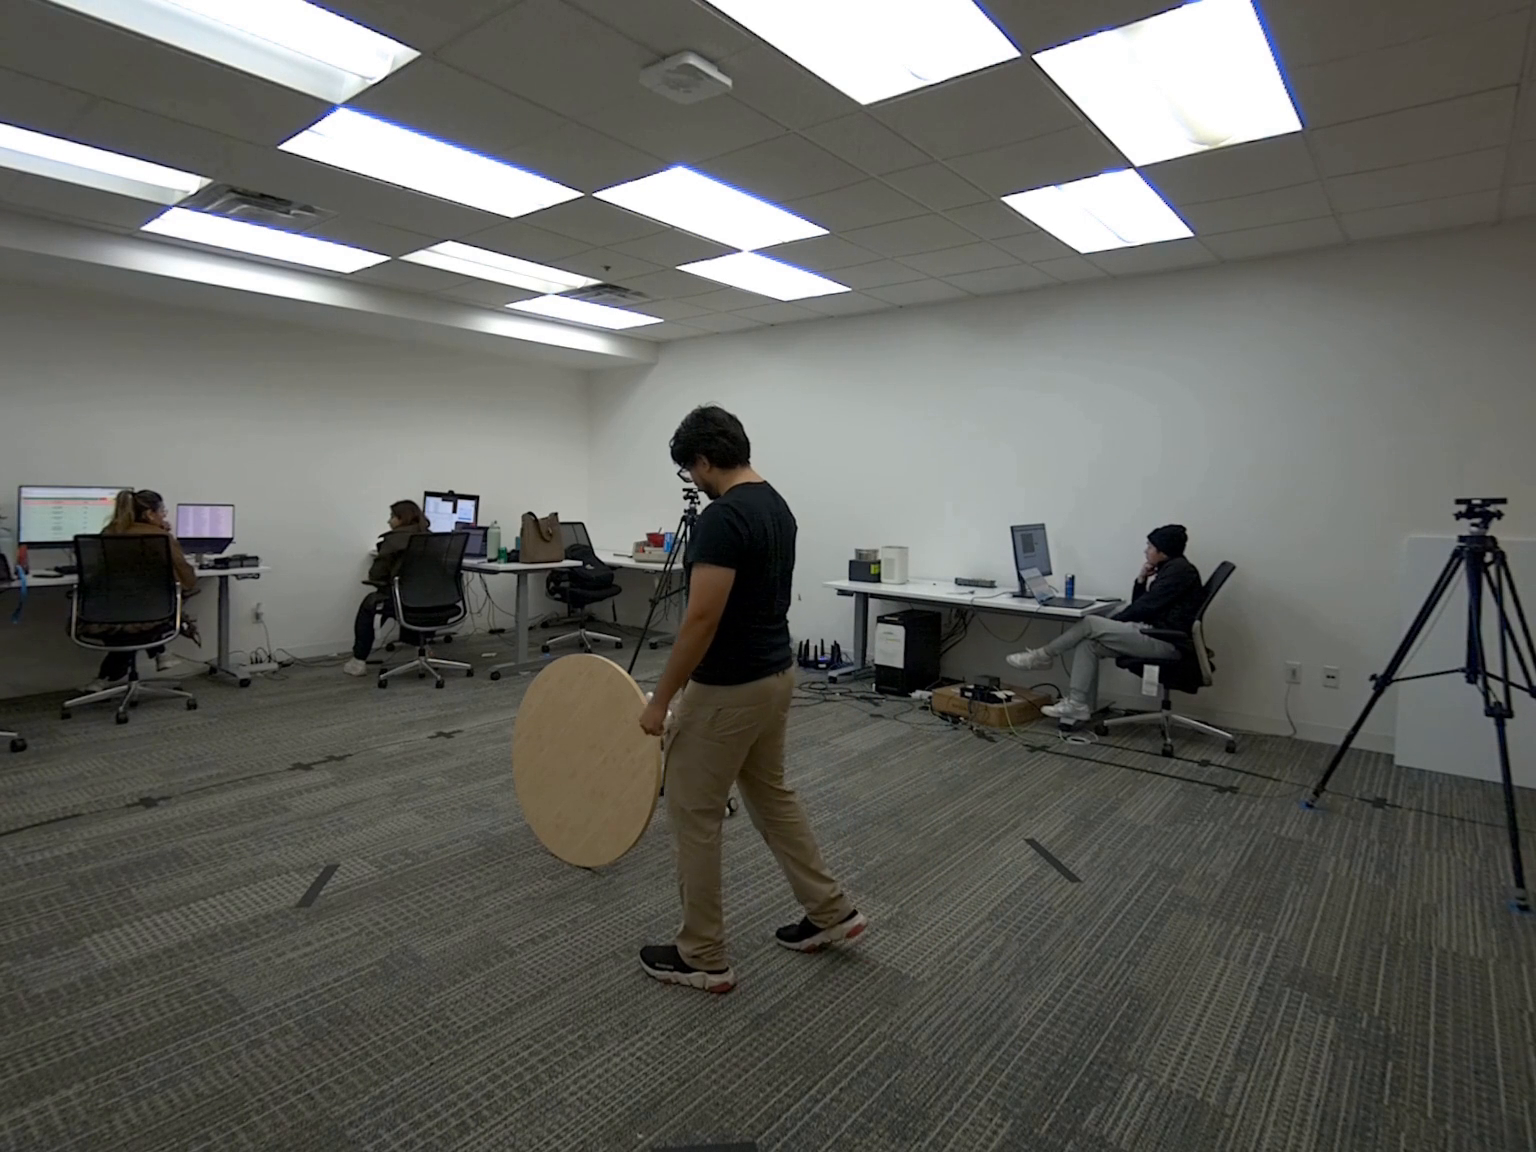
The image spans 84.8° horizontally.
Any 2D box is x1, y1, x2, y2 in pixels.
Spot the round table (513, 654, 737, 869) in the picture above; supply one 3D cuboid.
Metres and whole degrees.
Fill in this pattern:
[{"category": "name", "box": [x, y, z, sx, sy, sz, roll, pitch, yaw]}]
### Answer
[{"category": "round table", "box": [-0.493, 0.699, 3.467, 0.811, 0.787, 0.760, 4, -2, 36]}]
